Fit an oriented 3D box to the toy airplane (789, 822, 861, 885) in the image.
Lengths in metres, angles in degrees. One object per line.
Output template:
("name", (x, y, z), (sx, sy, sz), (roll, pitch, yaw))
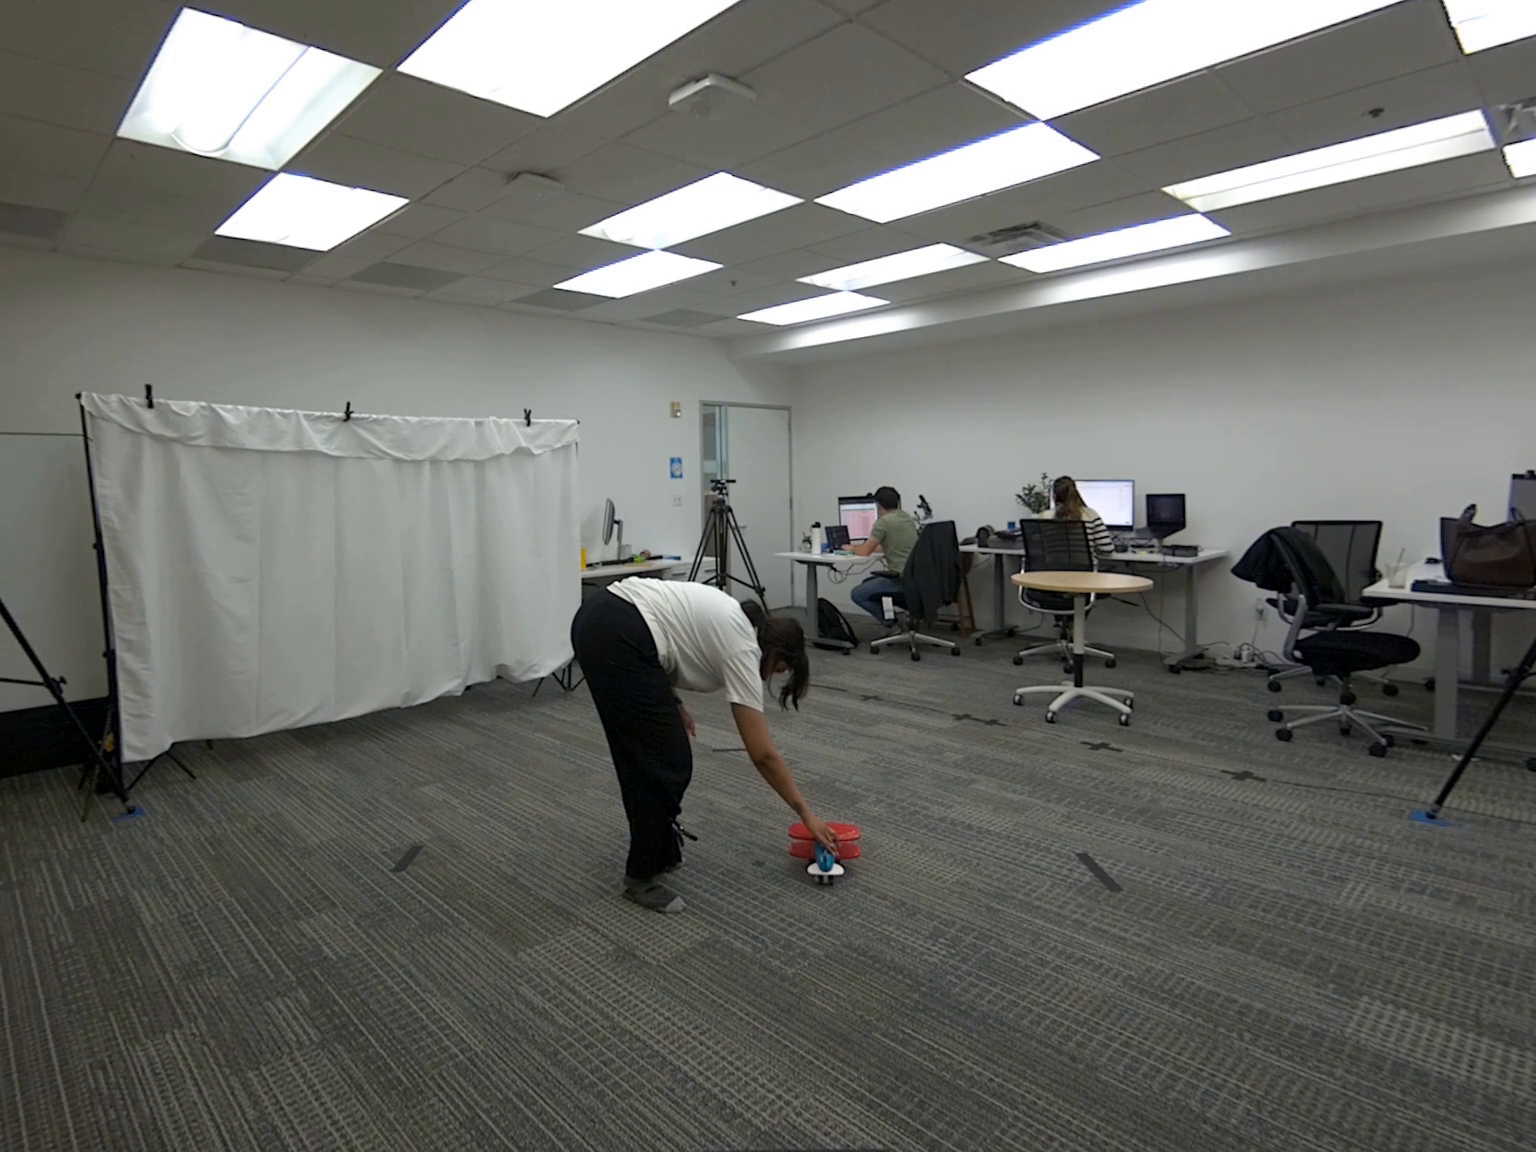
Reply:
("toy airplane", (0.228, 0.979, 3.027), (0.246, 0.156, 0.265), (-2, 5, -24))
